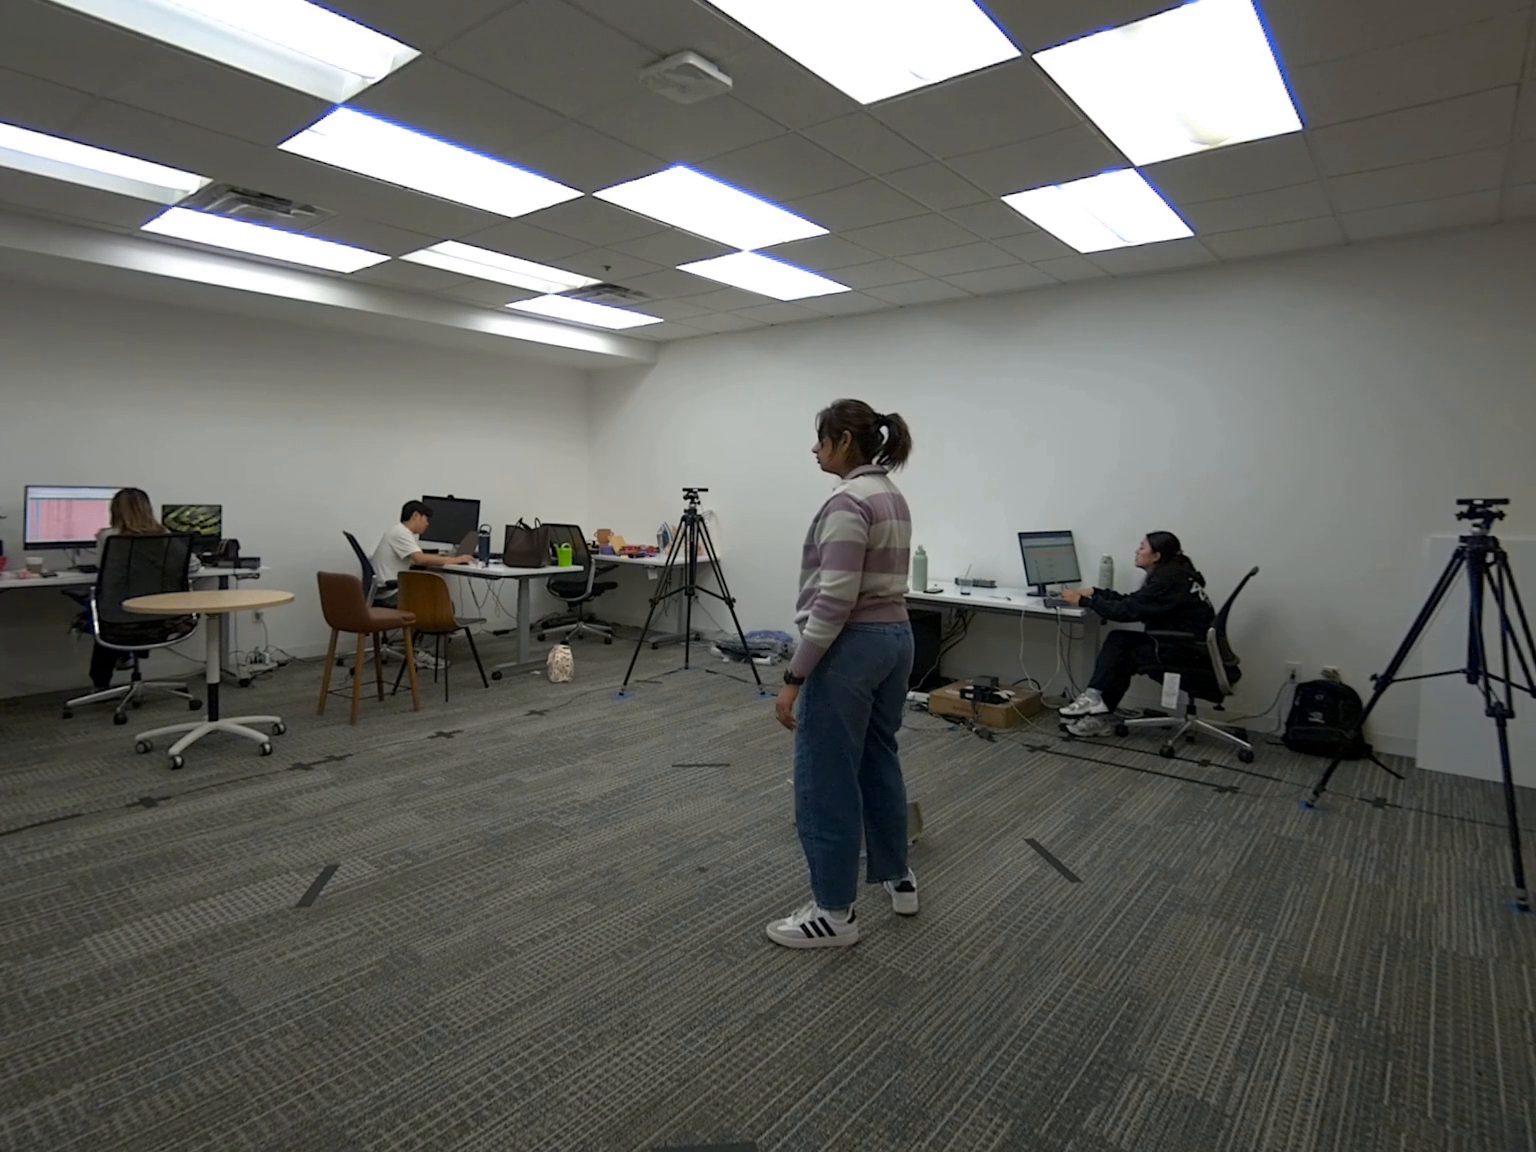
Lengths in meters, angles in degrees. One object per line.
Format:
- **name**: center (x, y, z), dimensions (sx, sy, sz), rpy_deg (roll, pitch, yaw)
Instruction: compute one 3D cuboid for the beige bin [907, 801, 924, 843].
- **beige bin**: center (0.342, 0.951, 3.470), dimensions (0.367, 0.188, 0.436), rpy_deg (-3, 7, -31)
